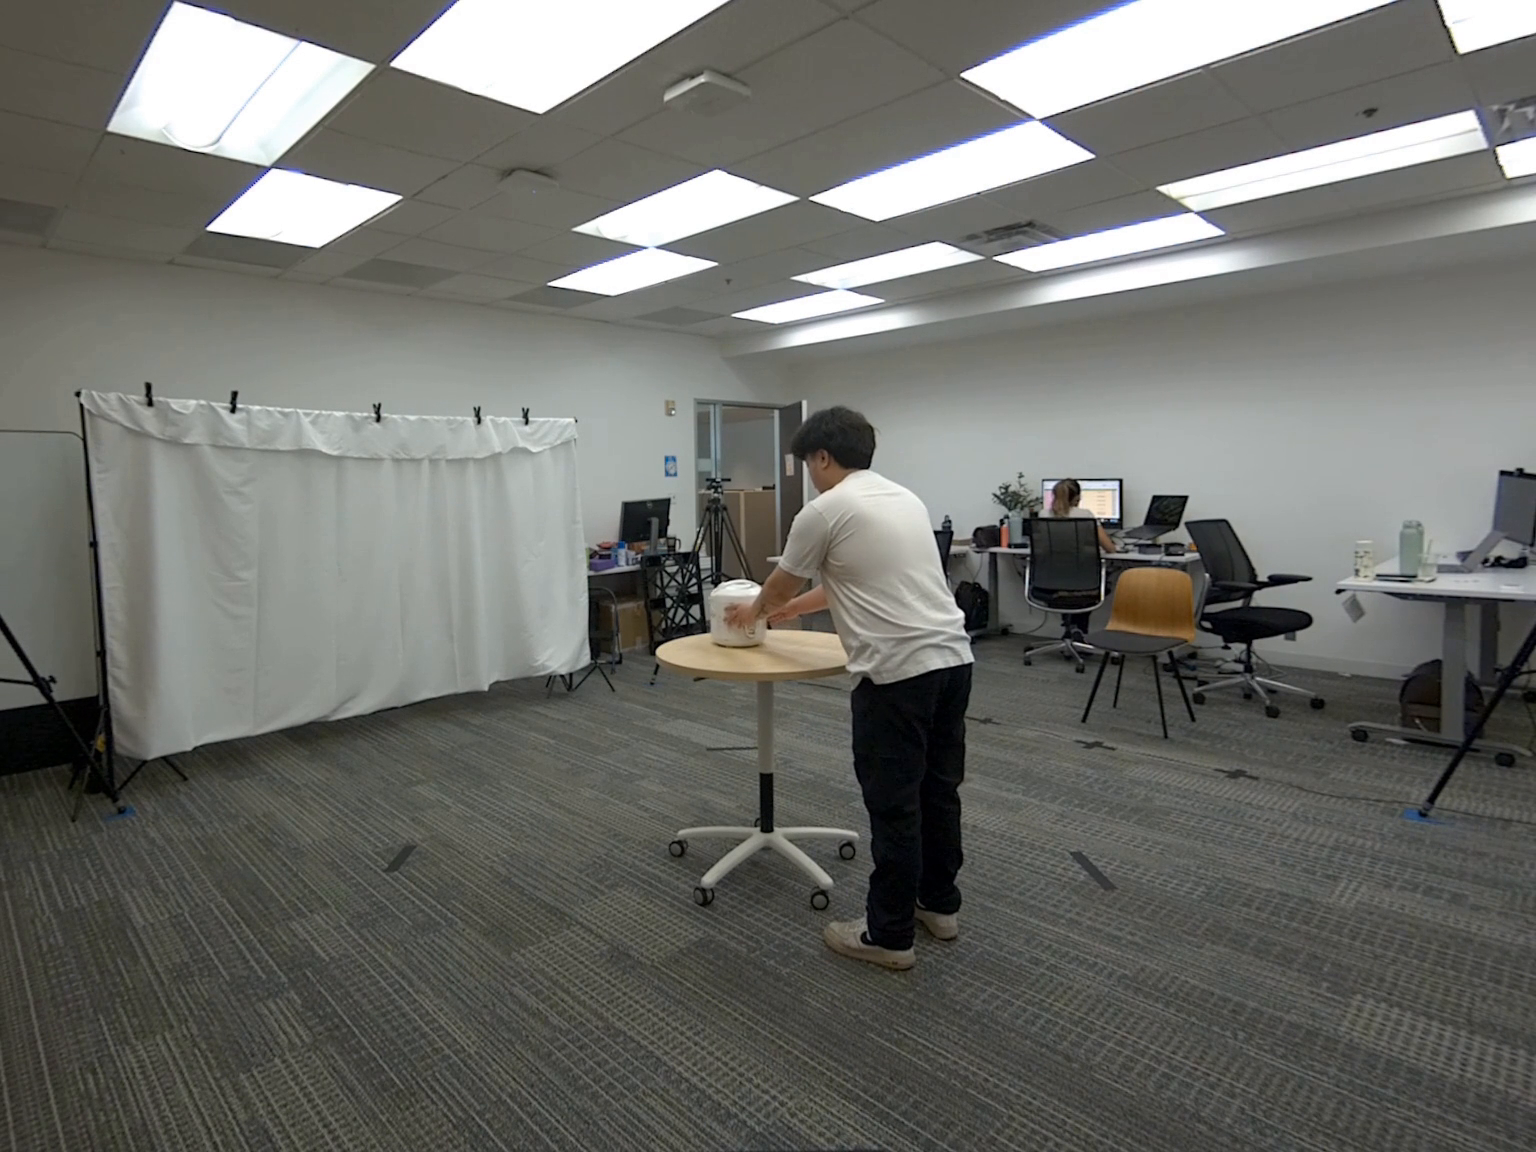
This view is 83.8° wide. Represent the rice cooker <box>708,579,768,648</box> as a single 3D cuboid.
[{"bbox_3d":[-0.103,0.130,3.107,0.216,0.232,0.223,-4,4,-25],"label":"rice cooker"}]
